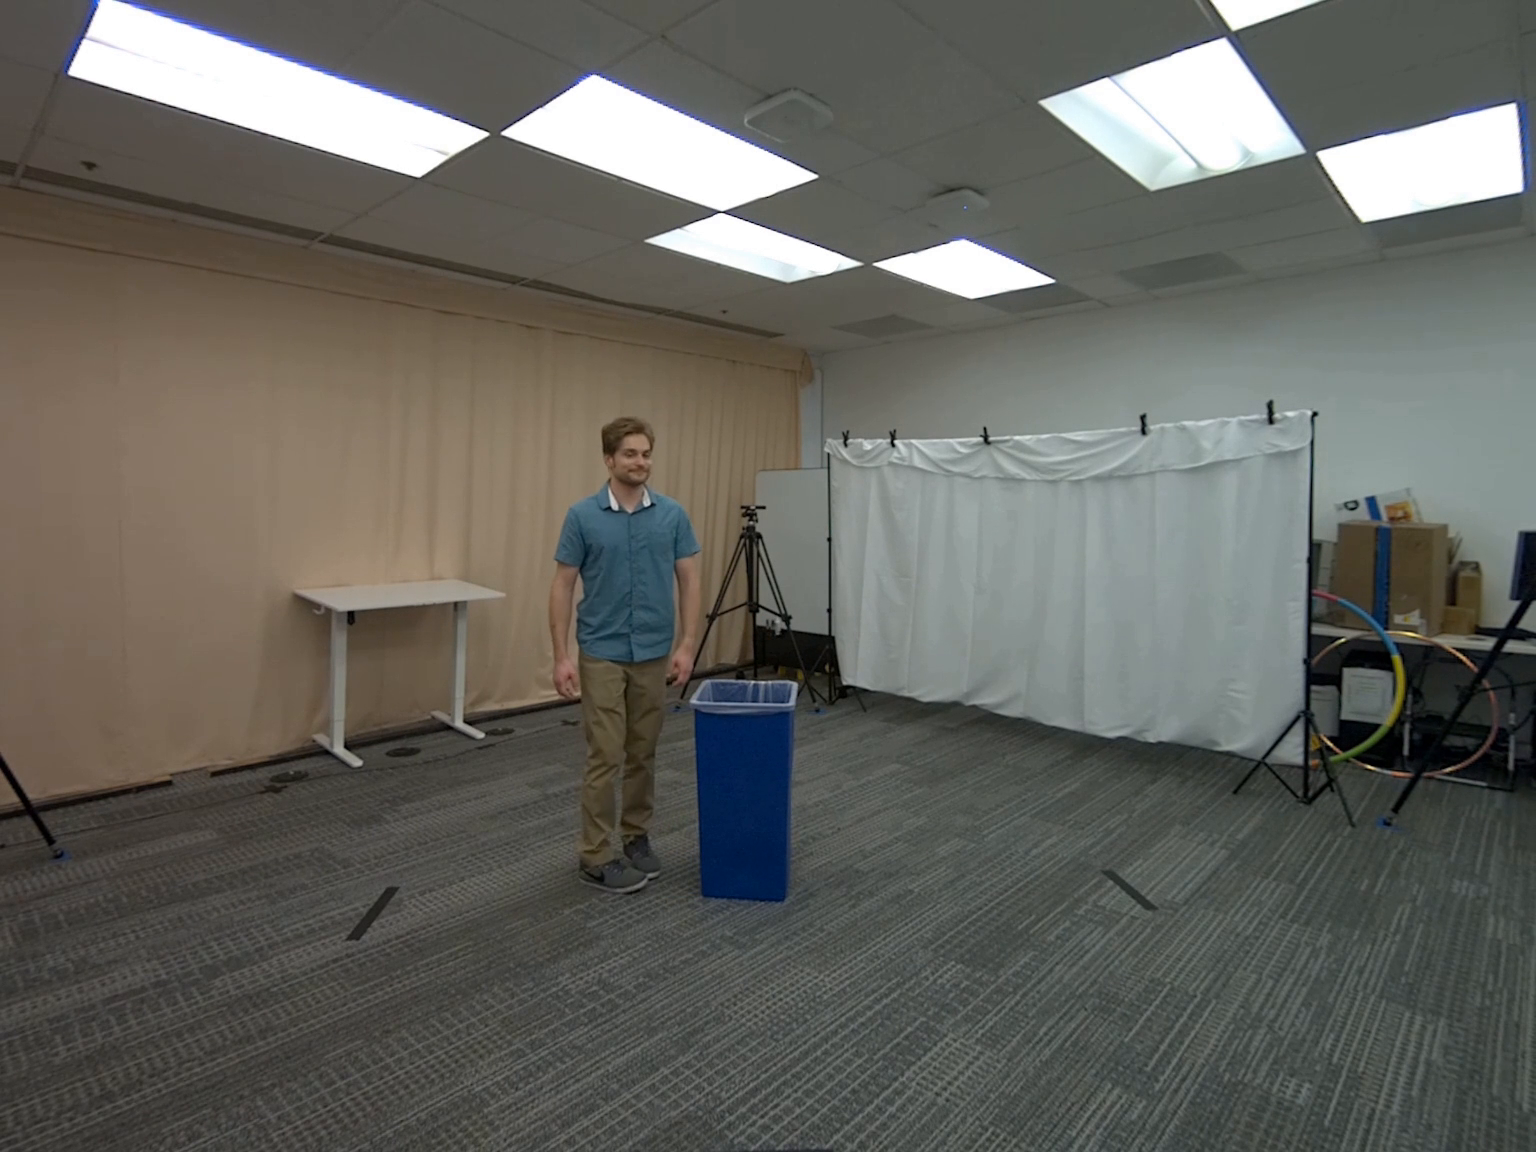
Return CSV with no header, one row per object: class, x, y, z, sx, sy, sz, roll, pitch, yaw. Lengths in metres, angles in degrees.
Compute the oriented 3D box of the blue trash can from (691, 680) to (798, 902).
blue trash can,-0.085,0.776,3.095,0.377,0.712,0.376,1,4,5
